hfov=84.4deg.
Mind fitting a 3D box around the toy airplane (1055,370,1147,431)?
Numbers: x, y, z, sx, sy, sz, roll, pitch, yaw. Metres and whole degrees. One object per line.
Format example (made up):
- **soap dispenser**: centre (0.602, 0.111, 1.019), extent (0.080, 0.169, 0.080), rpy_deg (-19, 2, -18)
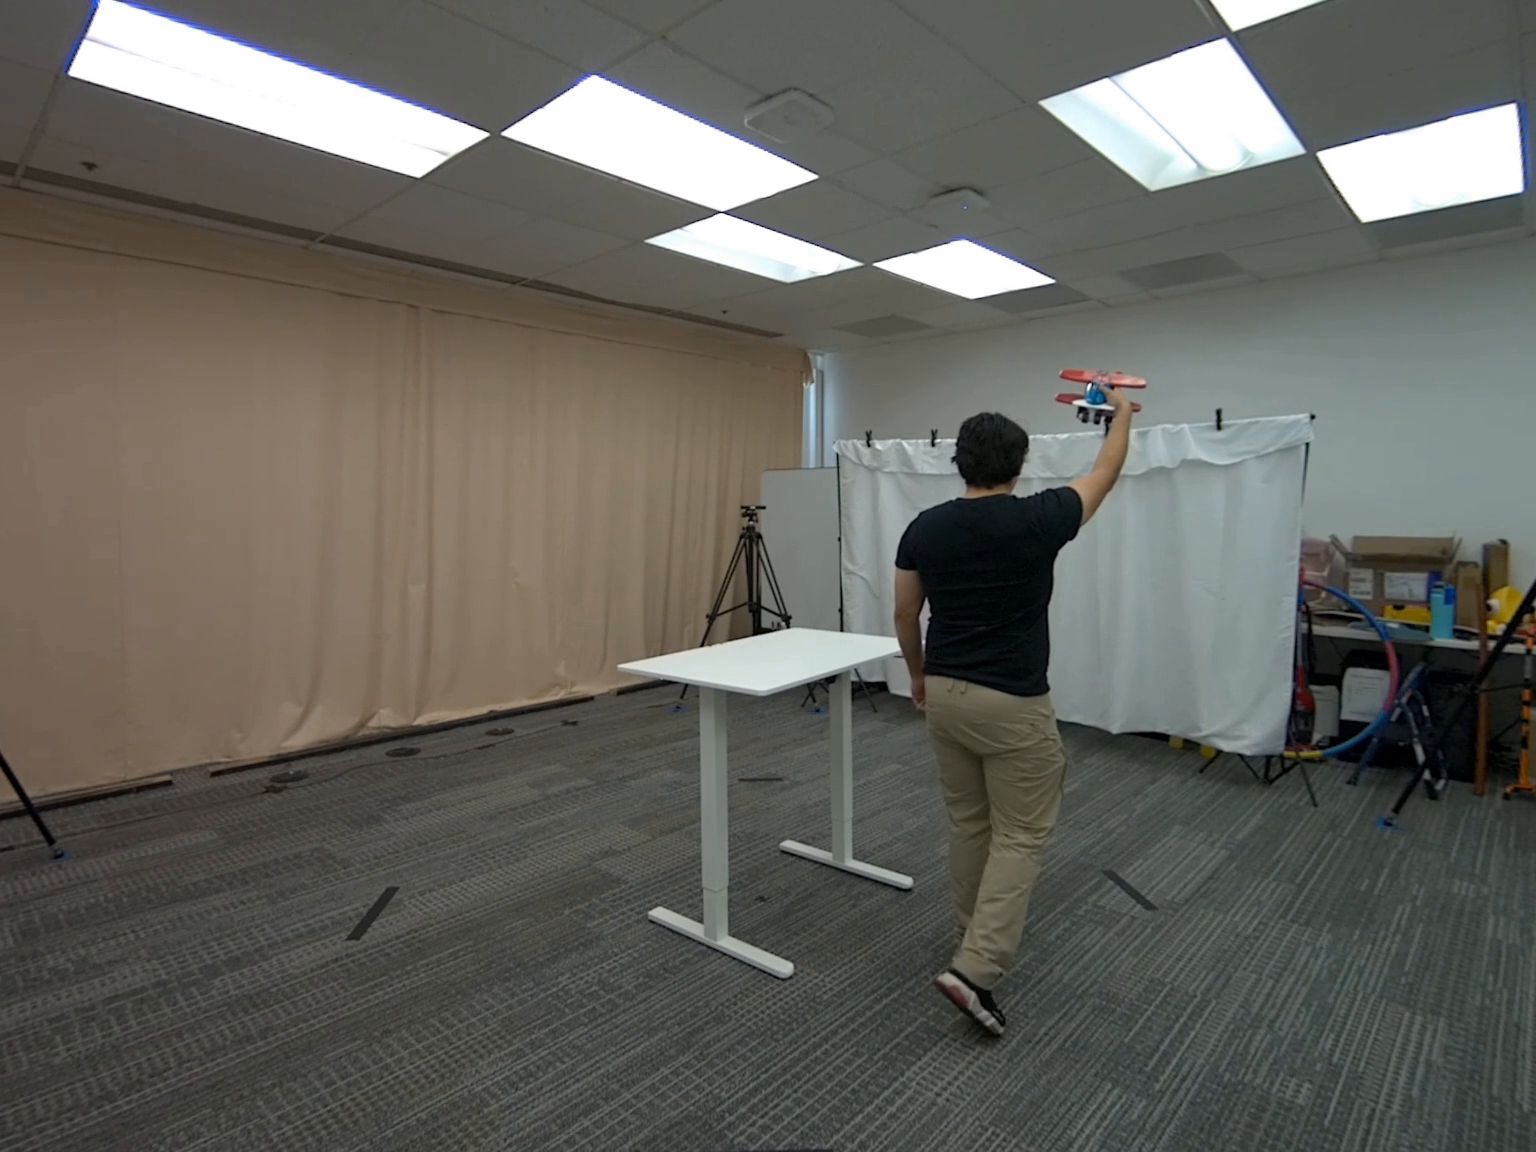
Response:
- **toy airplane**: centre (1.066, -0.557, 2.635), extent (0.250, 0.155, 0.262), rpy_deg (5, 15, -4)
